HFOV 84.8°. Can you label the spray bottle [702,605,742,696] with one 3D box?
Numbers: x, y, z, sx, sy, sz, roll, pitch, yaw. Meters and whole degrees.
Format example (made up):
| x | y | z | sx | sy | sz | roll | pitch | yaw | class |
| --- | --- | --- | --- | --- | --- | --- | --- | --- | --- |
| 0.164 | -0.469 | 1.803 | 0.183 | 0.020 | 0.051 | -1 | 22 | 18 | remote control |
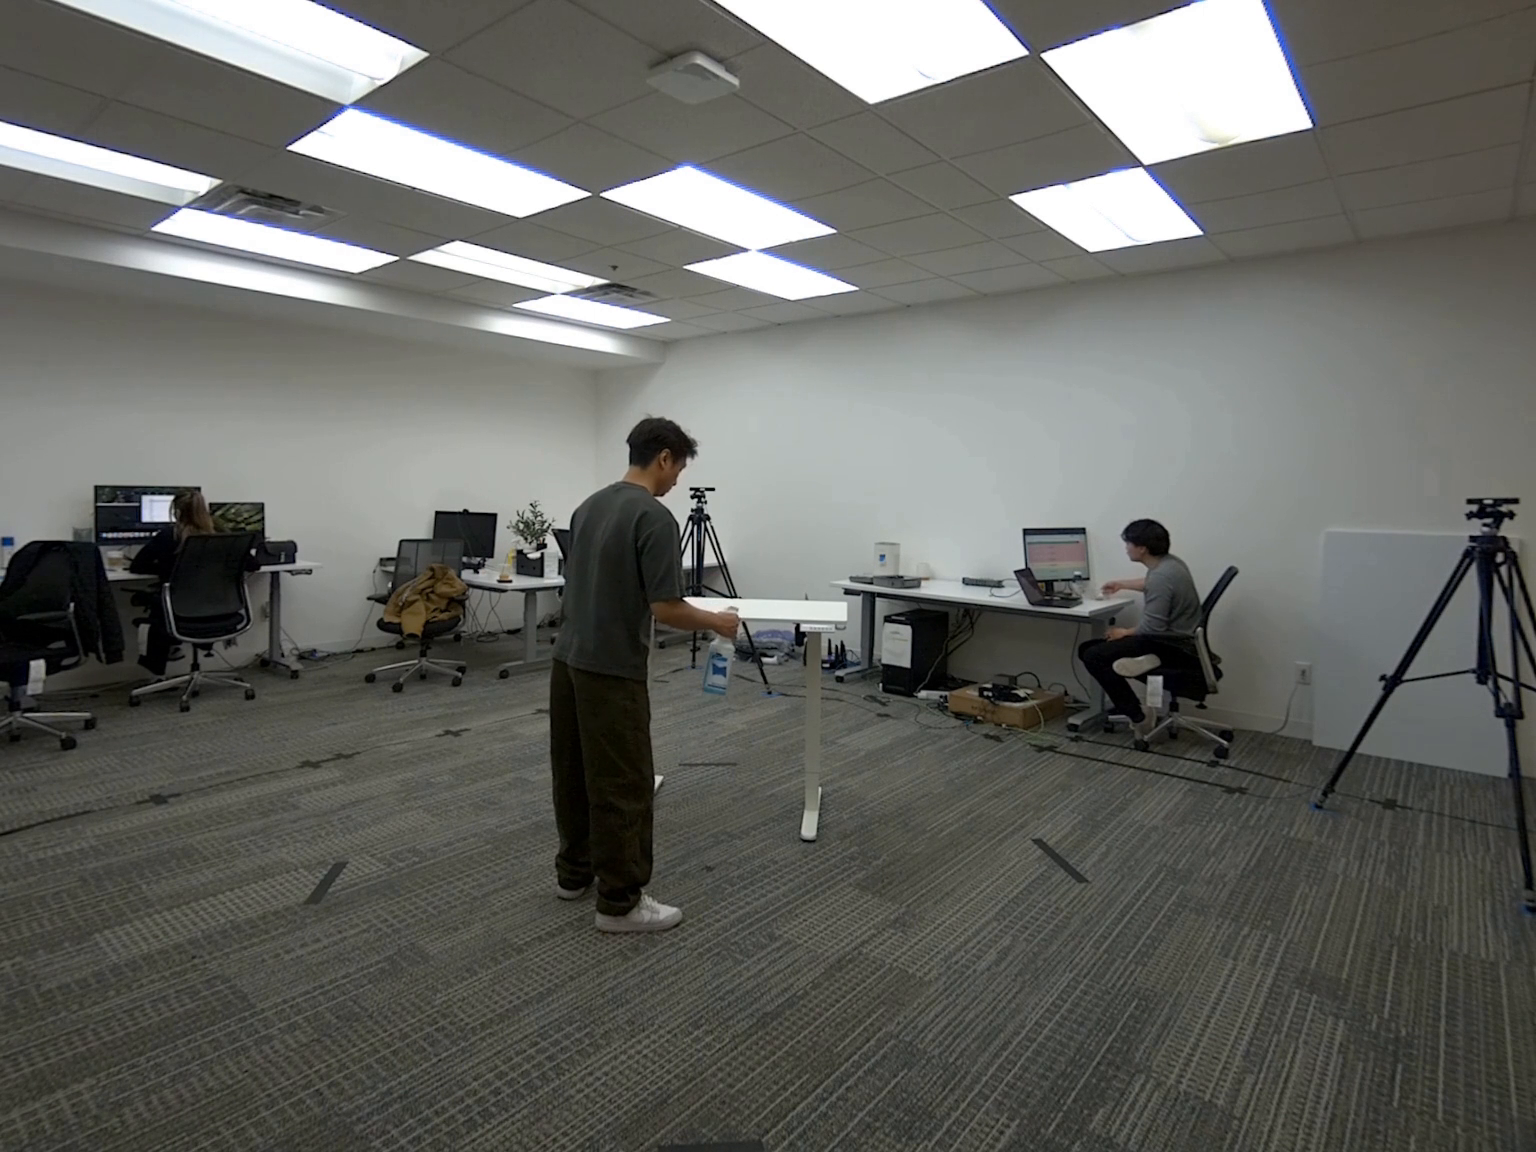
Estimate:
| x | y | z | sx | sy | sz | roll | pitch | yaw | class |
| --- | --- | --- | --- | --- | --- | --- | --- | --- | --- |
| -0.161 | 0.251 | 2.819 | 0.087 | 0.299 | 0.089 | 18 | -12 | -33 | spray bottle |
